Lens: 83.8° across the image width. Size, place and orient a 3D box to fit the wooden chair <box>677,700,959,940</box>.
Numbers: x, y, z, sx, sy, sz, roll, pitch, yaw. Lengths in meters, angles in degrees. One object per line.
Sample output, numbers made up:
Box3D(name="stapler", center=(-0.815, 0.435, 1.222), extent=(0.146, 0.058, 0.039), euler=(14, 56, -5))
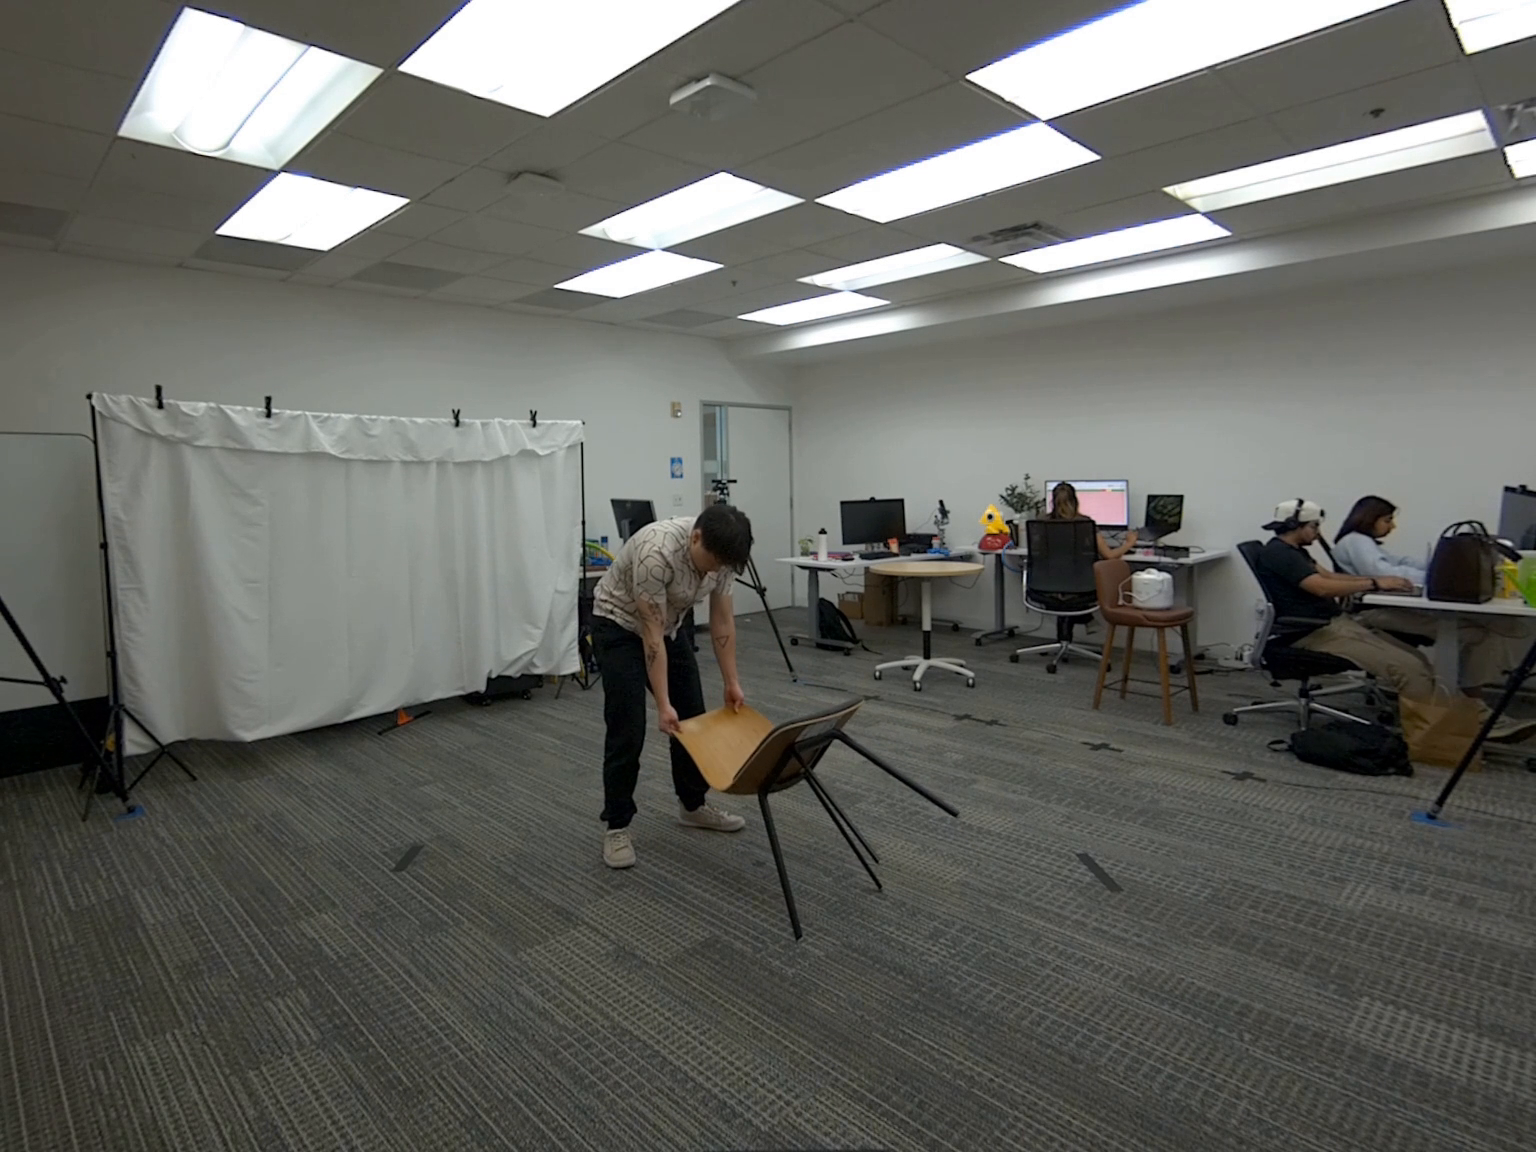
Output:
Box3D(name="wooden chair", center=(0.105, 0.619, 2.823), extent=(0.466, 0.518, 0.909), euler=(-7, 44, -45))
